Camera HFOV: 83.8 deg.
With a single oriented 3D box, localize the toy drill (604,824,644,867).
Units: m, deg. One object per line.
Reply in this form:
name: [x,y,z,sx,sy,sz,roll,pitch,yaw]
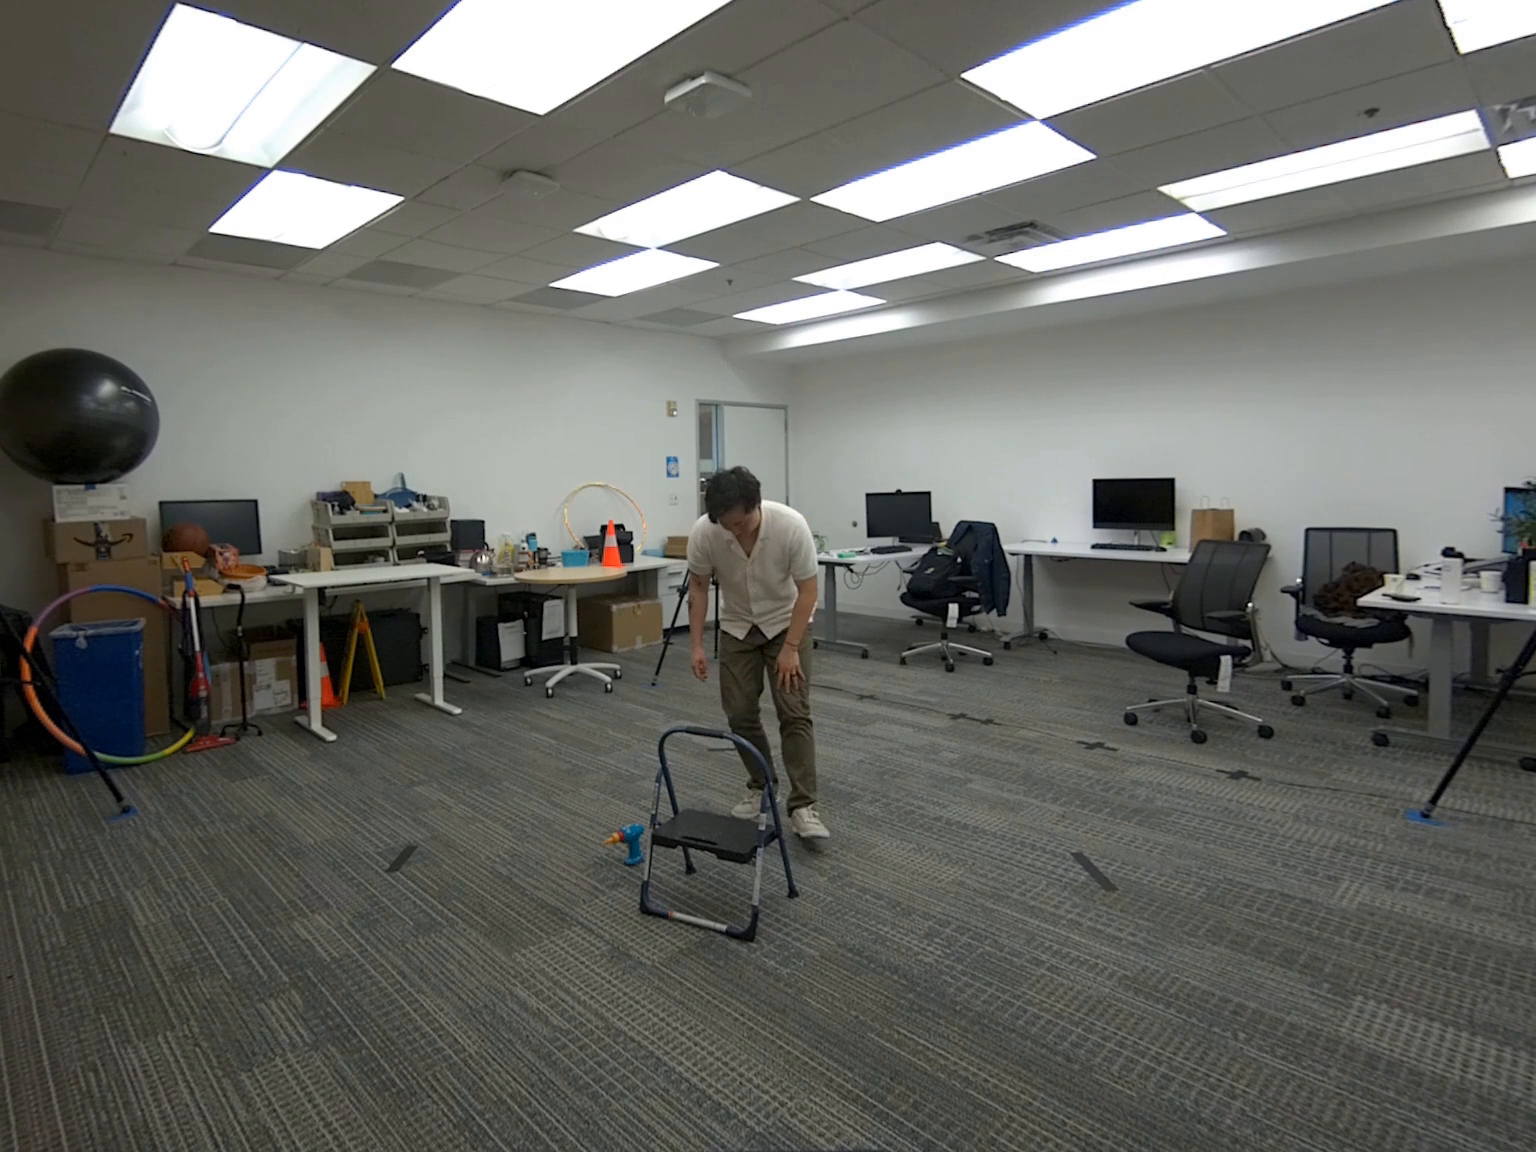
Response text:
toy drill: [-0.516,0.981,3.102,0.165,0.145,0.063,-7,8,-42]
